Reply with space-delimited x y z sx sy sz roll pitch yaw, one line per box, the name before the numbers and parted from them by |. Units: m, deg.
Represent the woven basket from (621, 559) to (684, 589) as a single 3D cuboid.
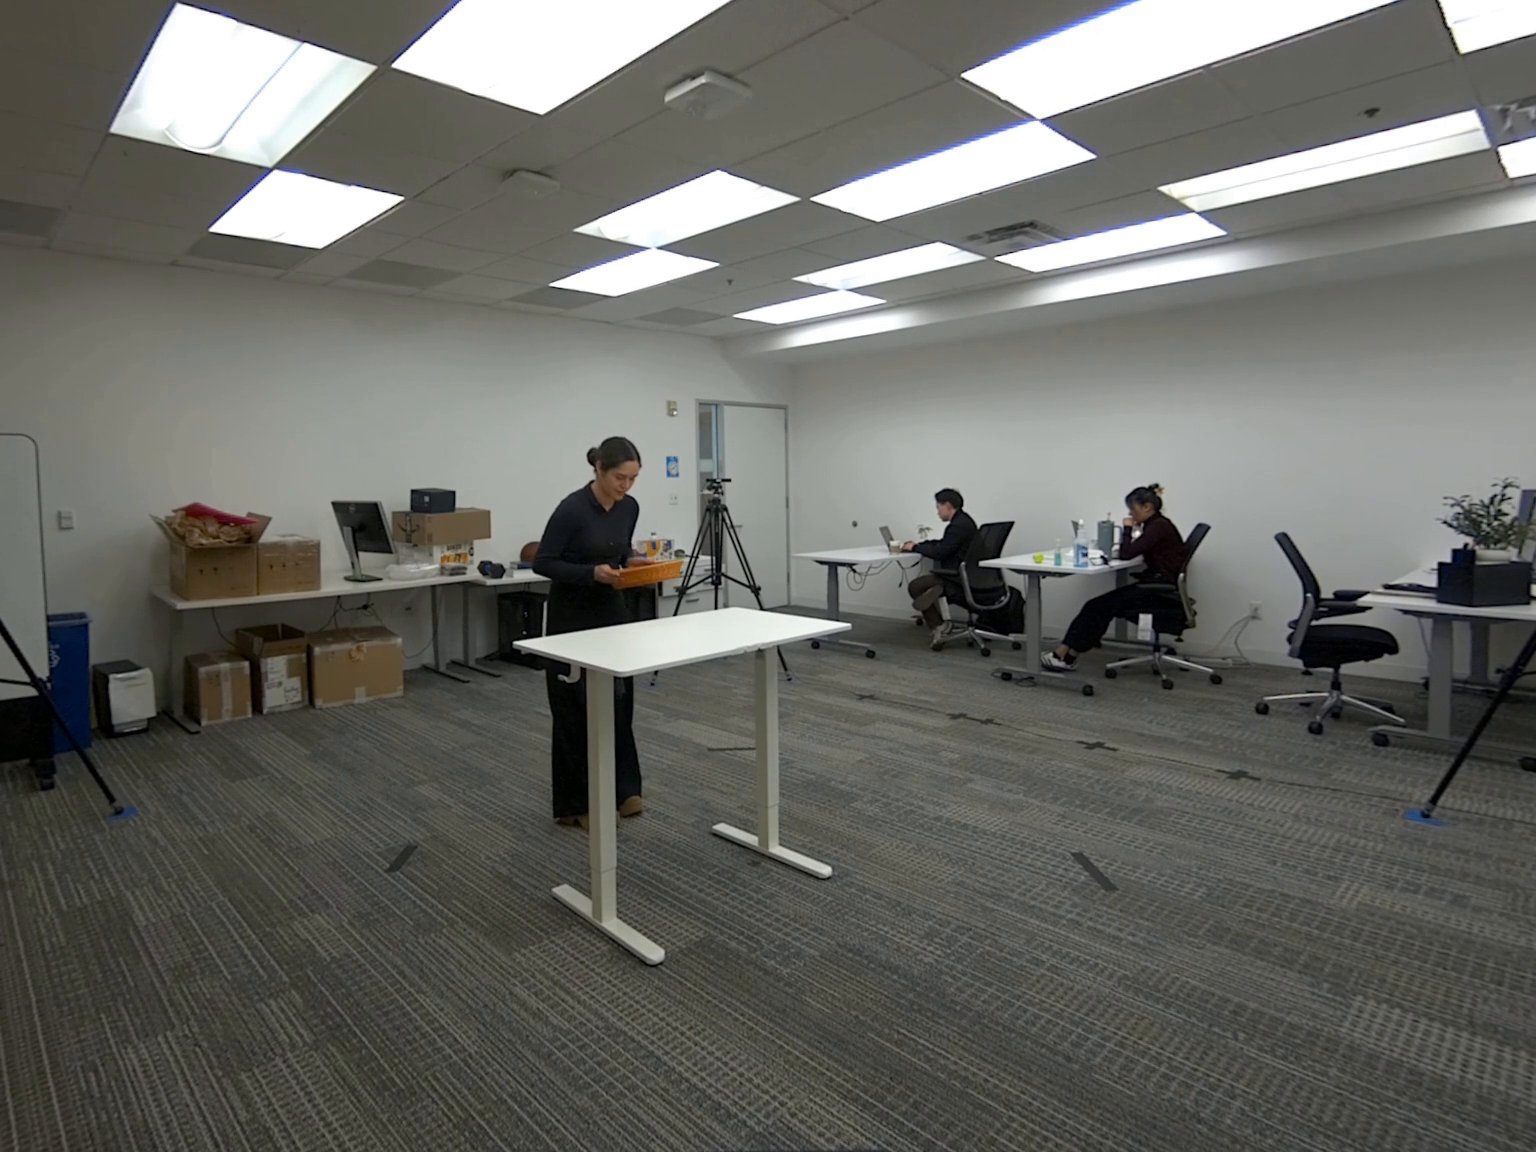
woven basket | -0.488 -0.004 3.441 0.355 0.073 0.249 -8 4 17
